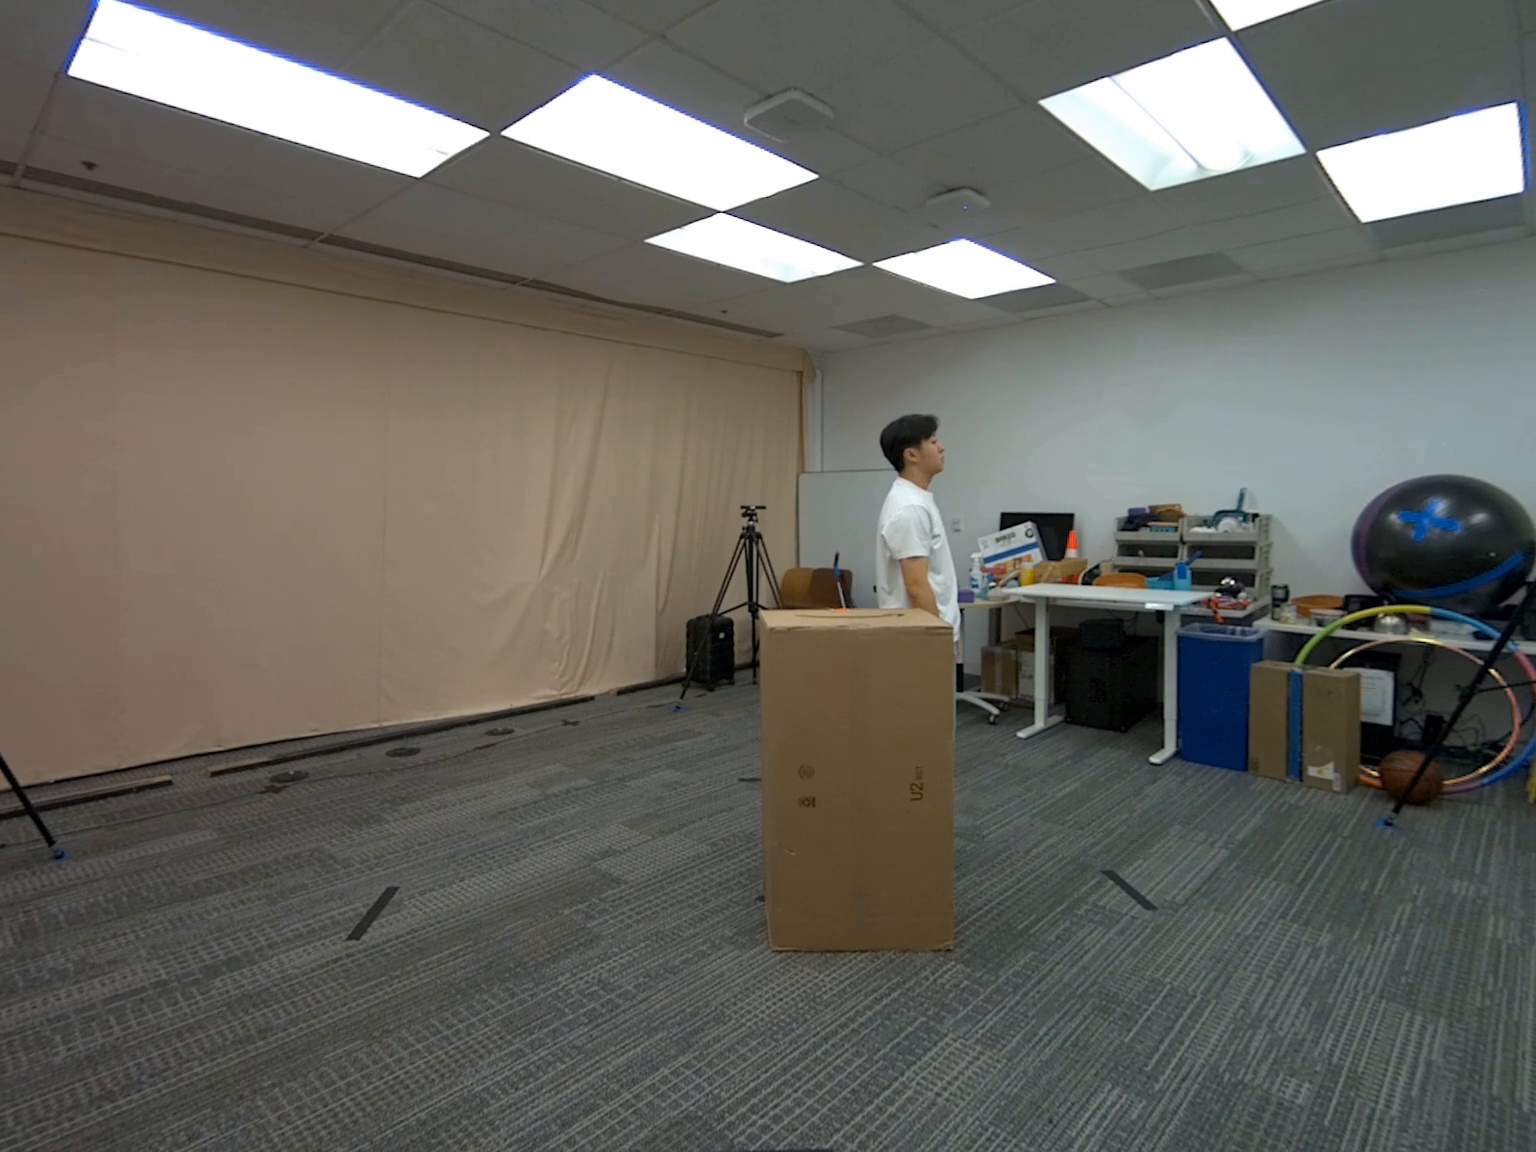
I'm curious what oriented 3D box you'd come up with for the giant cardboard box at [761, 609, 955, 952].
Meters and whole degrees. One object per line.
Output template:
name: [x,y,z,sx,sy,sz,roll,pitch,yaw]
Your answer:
giant cardboard box: [0.276,0.646,2.810,0.578,1.024,0.427,0,3,0]
